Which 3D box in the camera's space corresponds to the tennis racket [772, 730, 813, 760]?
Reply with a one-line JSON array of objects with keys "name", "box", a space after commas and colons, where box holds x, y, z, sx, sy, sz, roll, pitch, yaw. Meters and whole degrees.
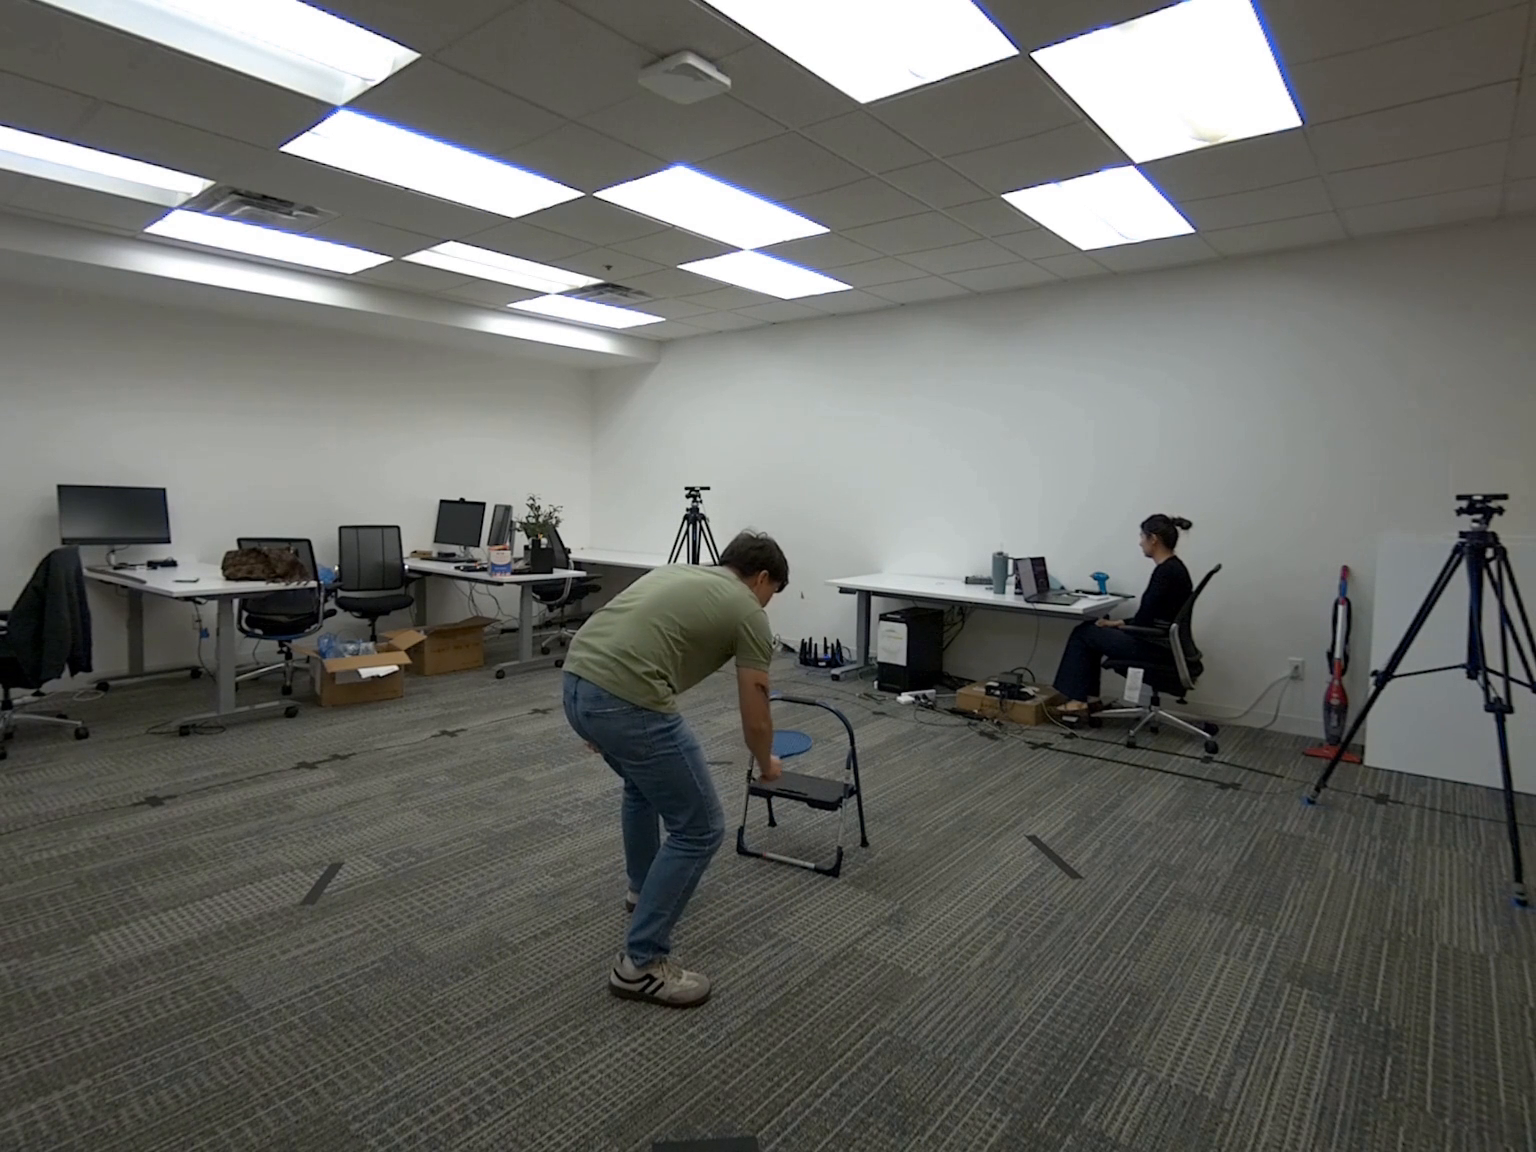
[{"name": "tennis racket", "box": [0.040, 0.627, 2.946, 0.217, 0.031, 0.427, 2, 6, 14]}]
